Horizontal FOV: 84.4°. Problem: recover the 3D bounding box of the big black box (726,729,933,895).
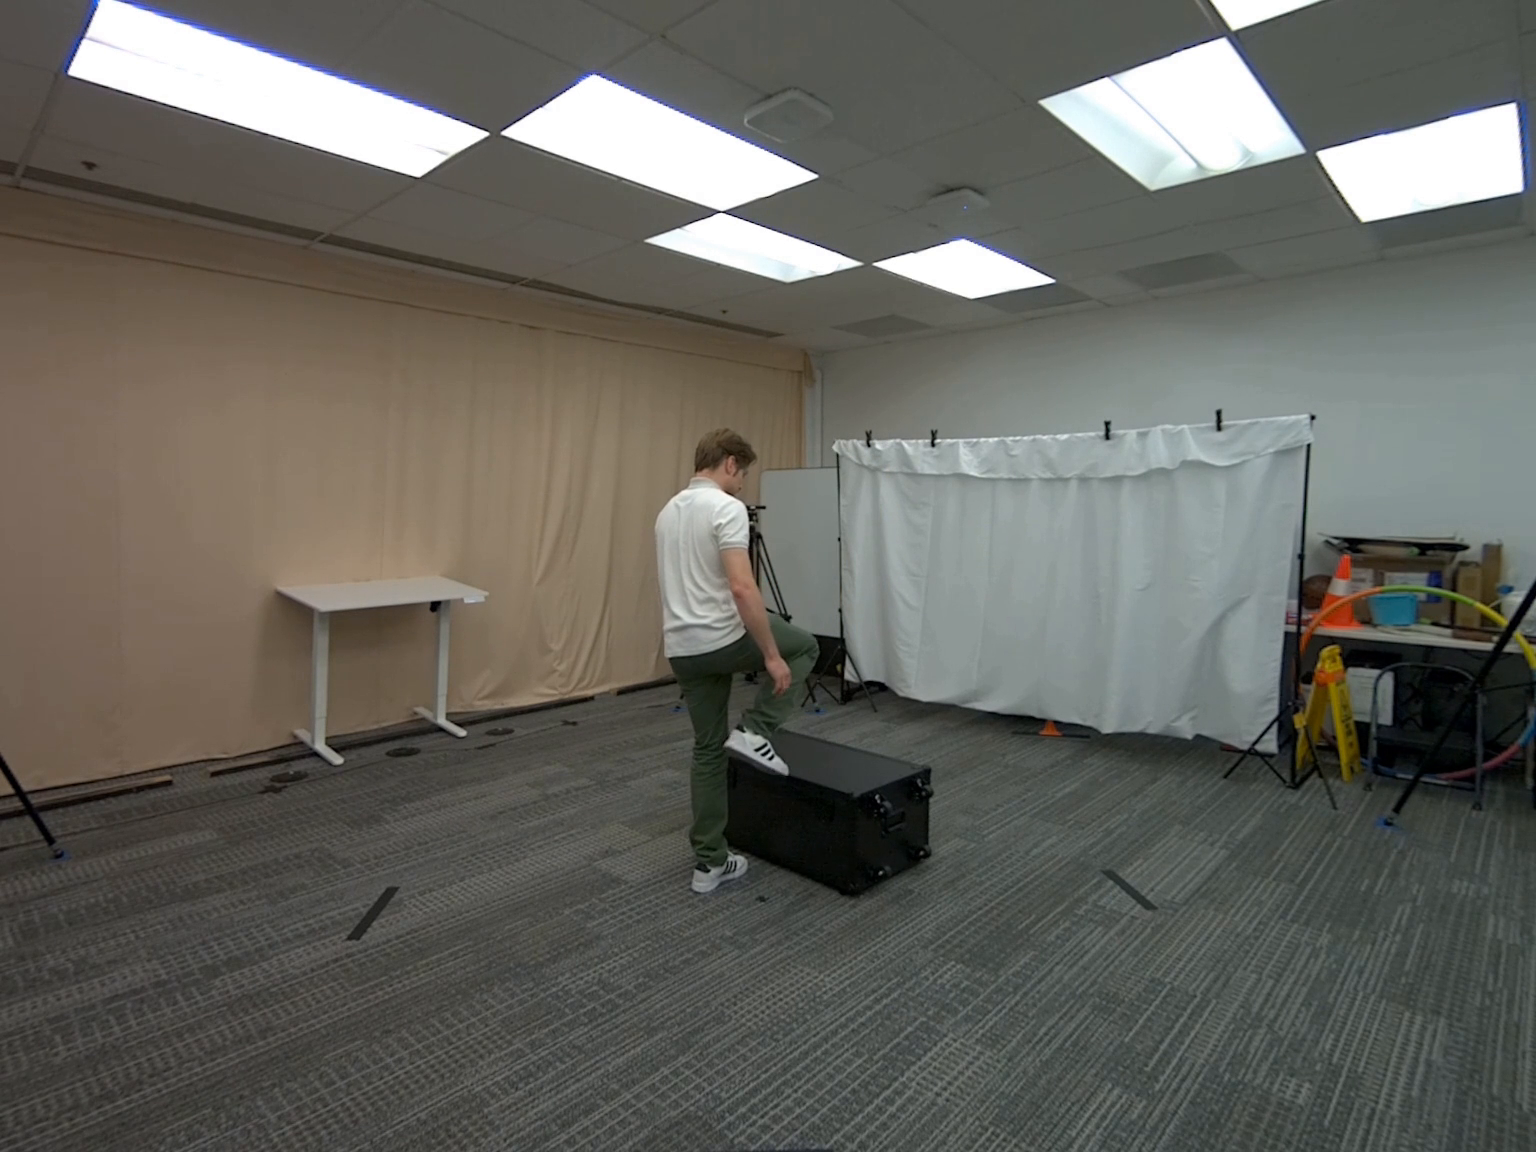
[{"bbox_3d":[0.207,0.918,3.376,0.890,0.395,0.505,3,5,44],"label":"big black box"}]
